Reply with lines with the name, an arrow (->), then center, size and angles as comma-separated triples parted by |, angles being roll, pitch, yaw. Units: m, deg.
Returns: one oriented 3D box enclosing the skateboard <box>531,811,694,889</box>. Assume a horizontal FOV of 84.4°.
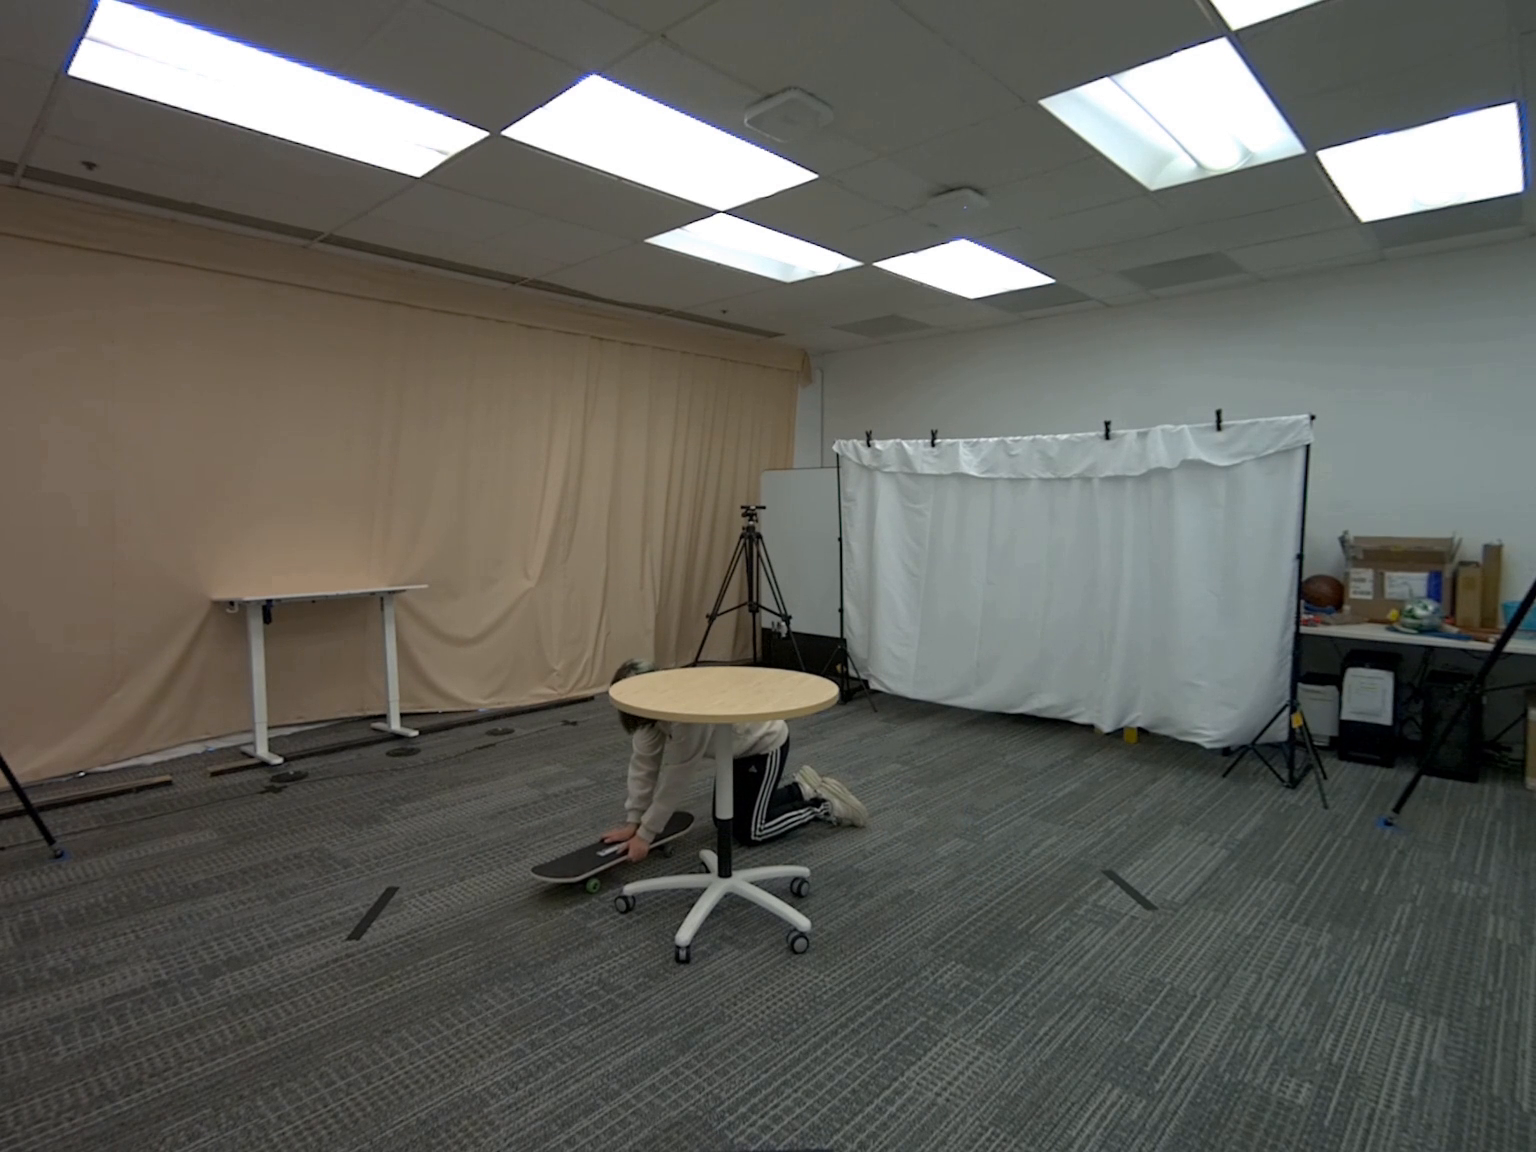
skateboard -> -0.577, 1.077, 3.244 | 0.200, 0.110, 0.762 | 3, 5, 39
